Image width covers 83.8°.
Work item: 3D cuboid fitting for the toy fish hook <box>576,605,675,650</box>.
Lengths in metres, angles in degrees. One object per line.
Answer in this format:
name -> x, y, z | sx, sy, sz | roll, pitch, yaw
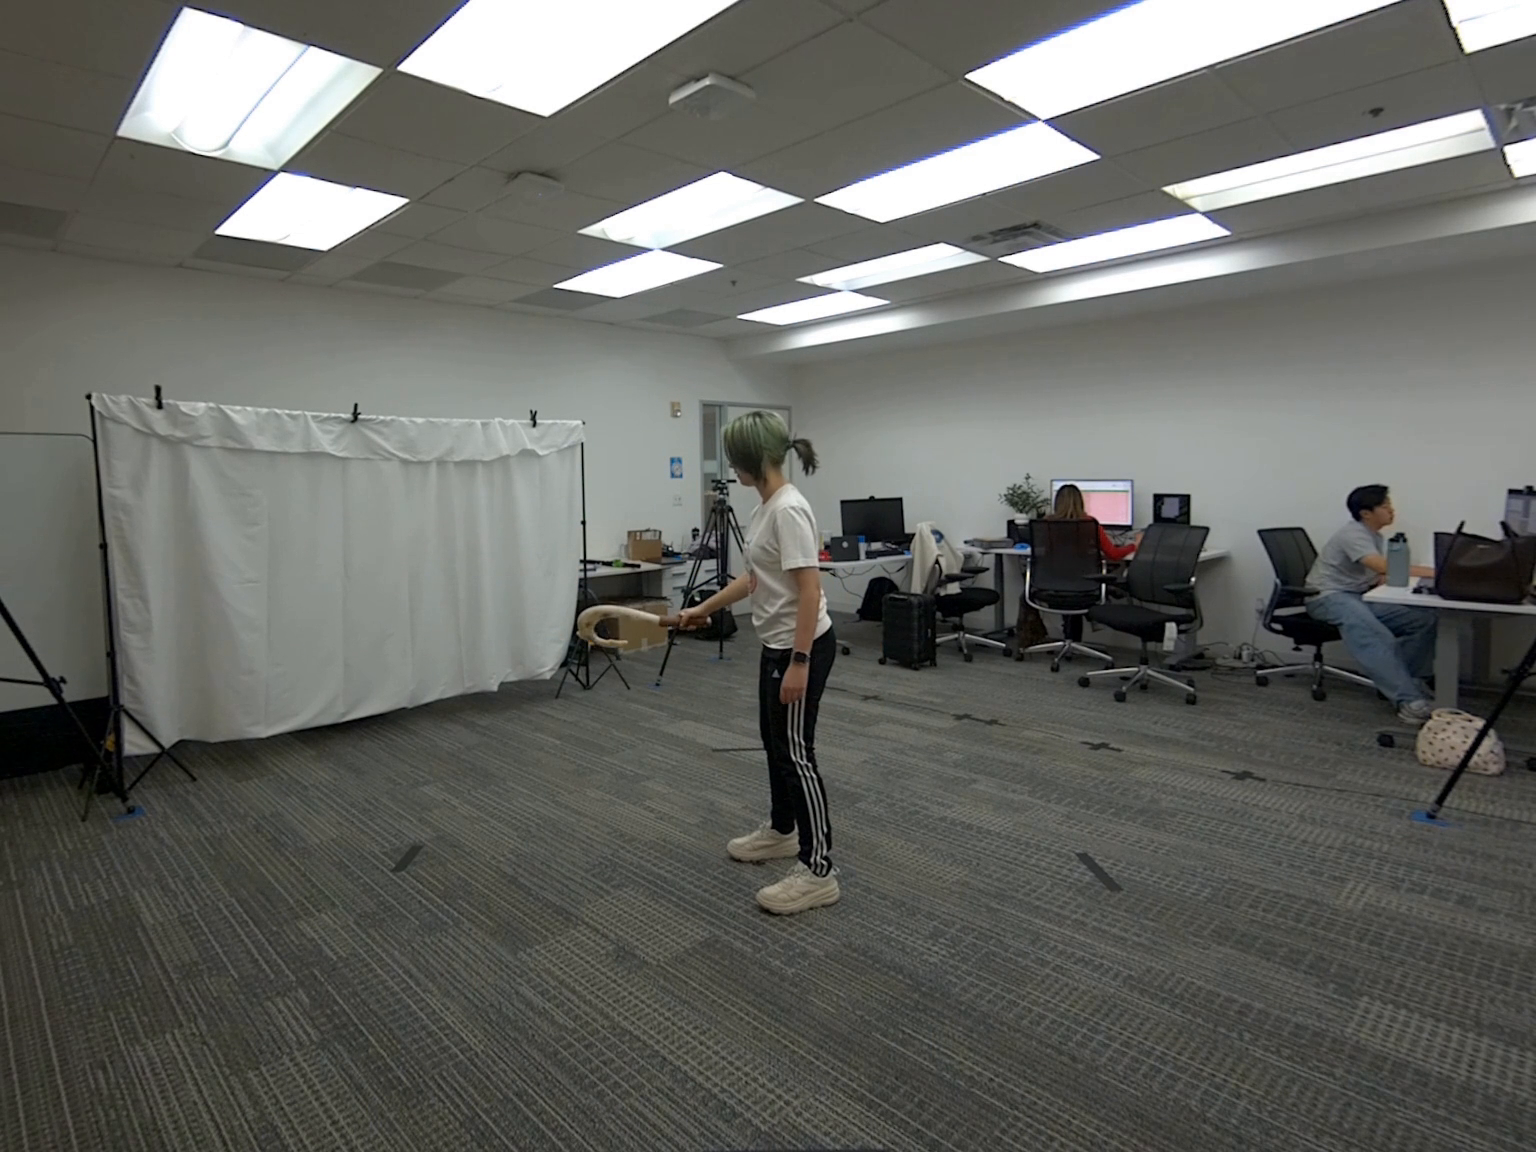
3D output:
toy fish hook -> -0.466, 0.209, 3.269 | 0.502, 0.220, 0.050 | 4, 45, -8
